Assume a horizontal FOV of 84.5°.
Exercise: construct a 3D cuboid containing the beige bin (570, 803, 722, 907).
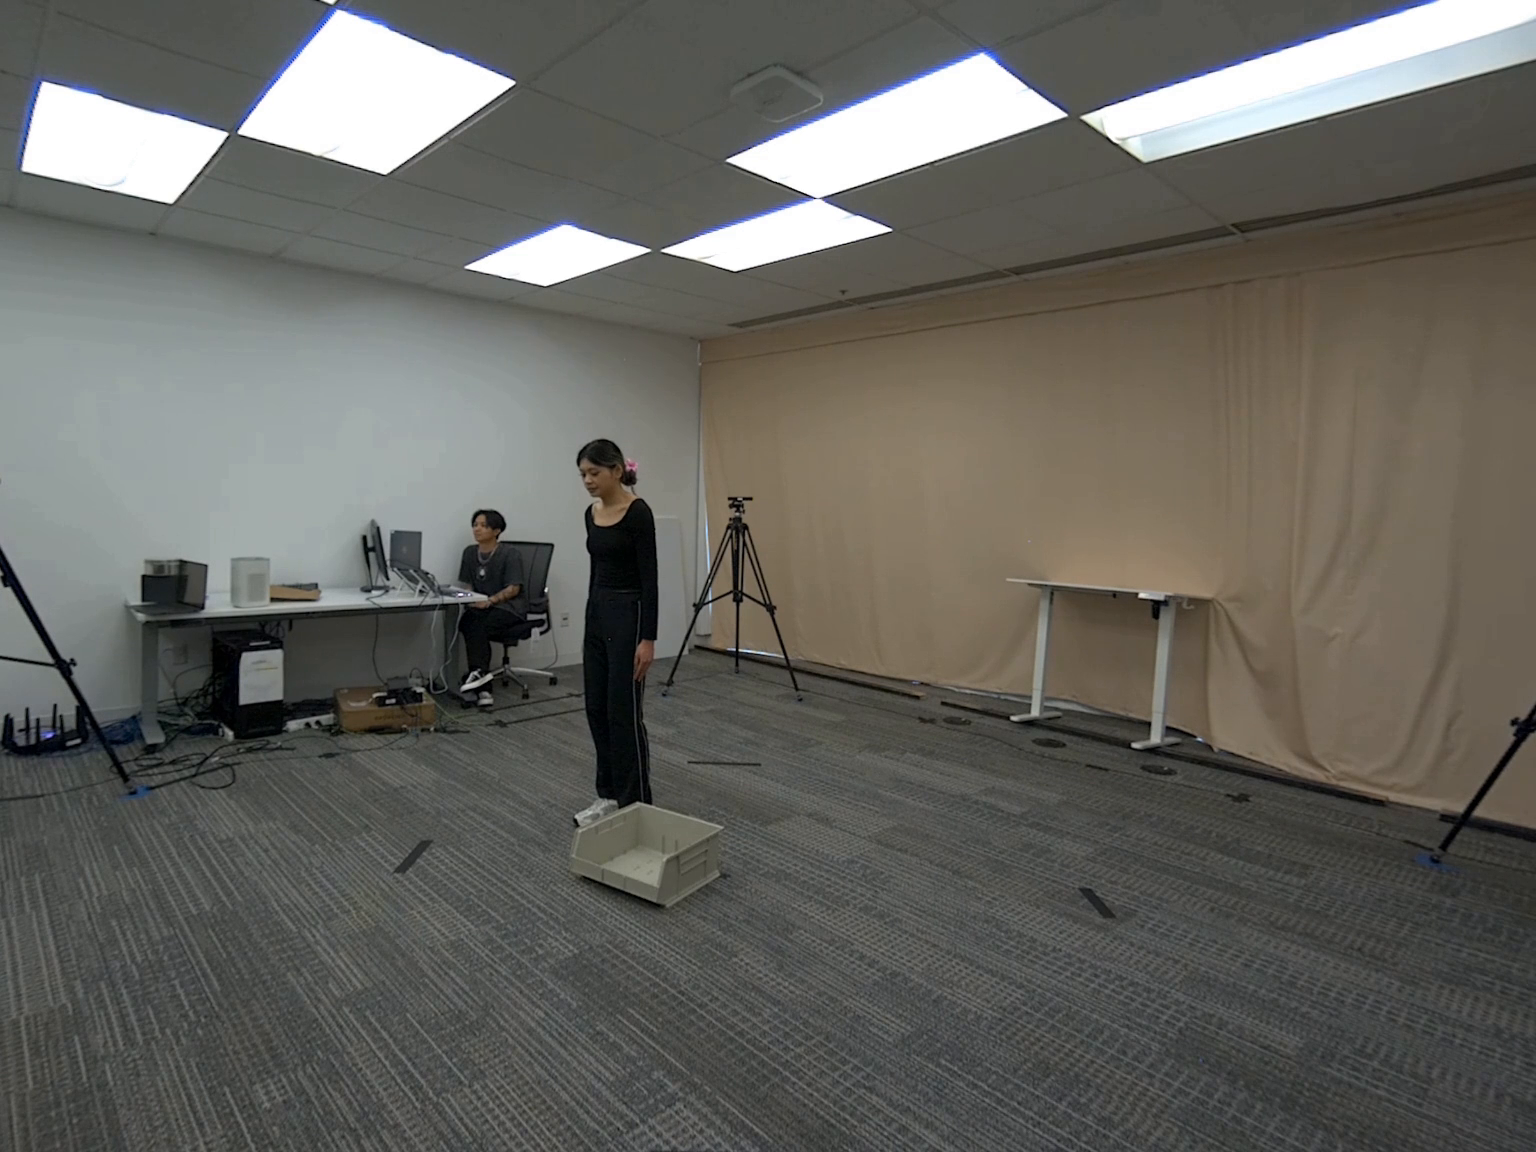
[{"bbox_3d":[-0.445,1.018,3.074,0.432,0.188,0.369,3,4,33],"label":"beige bin"}]
